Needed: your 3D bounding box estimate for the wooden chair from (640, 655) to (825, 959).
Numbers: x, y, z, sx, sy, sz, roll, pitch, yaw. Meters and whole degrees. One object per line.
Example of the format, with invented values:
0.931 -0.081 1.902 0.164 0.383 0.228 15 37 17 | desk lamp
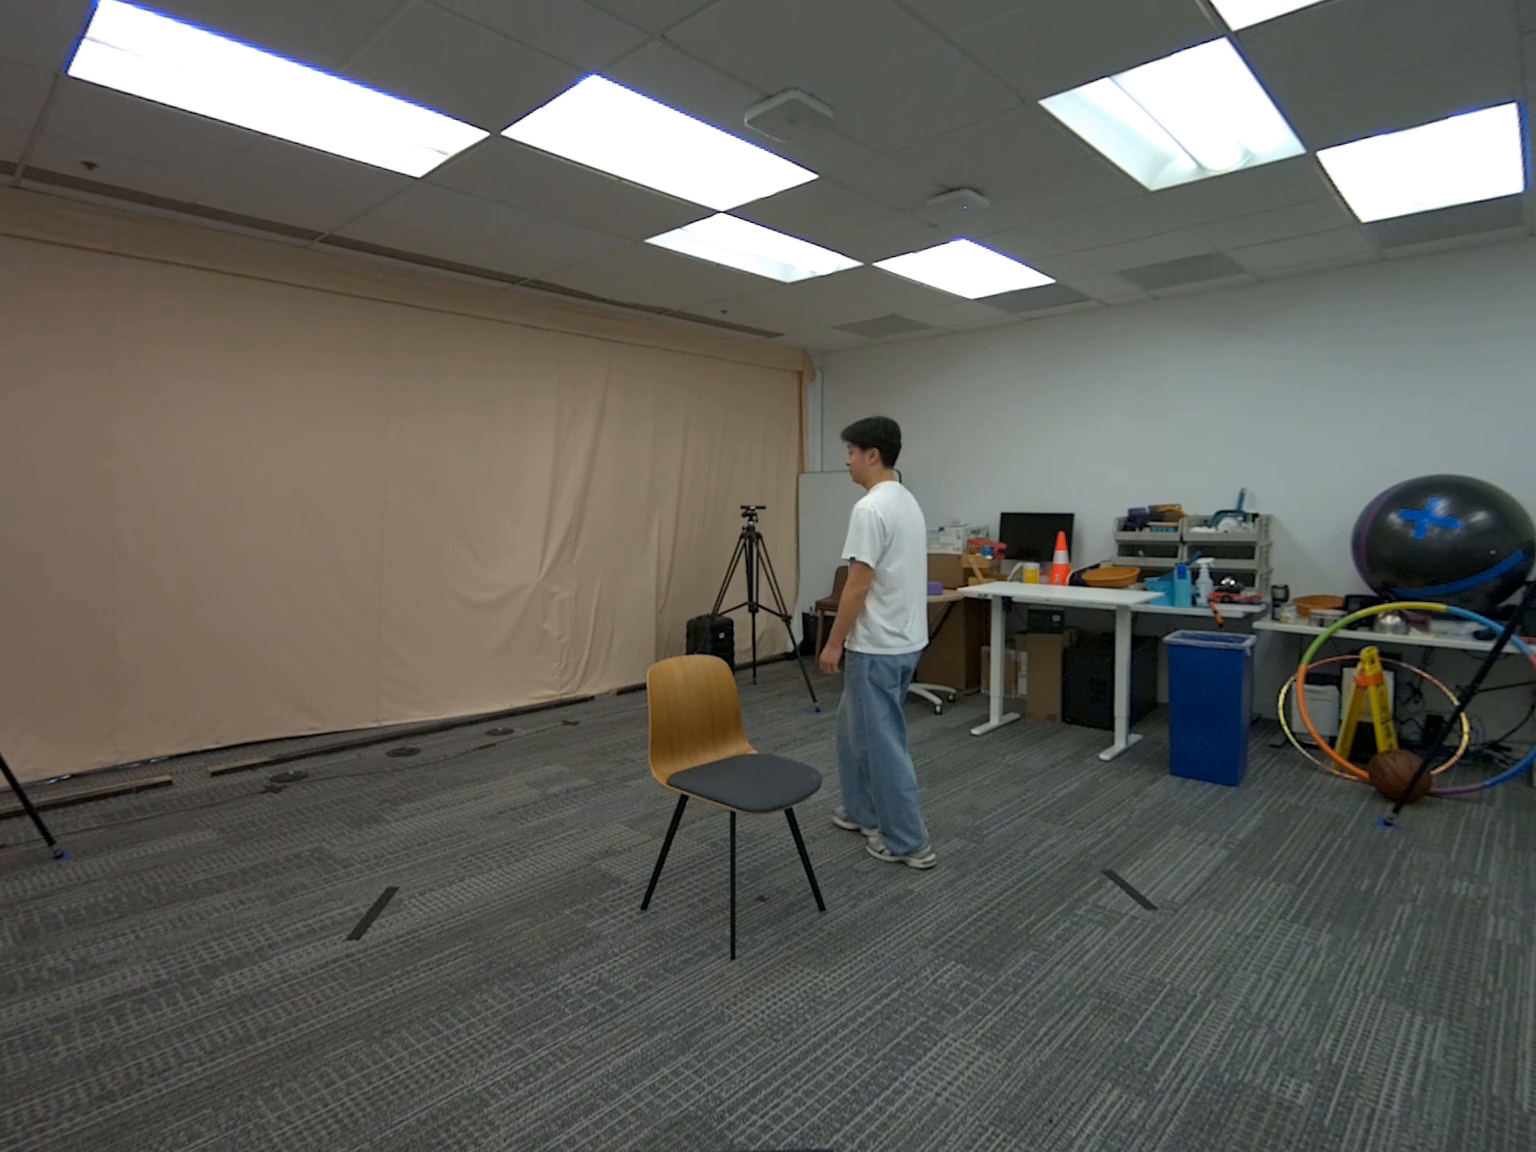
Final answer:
-0.113 0.728 2.858 0.539 0.877 0.463 -3 0 45 | wooden chair
